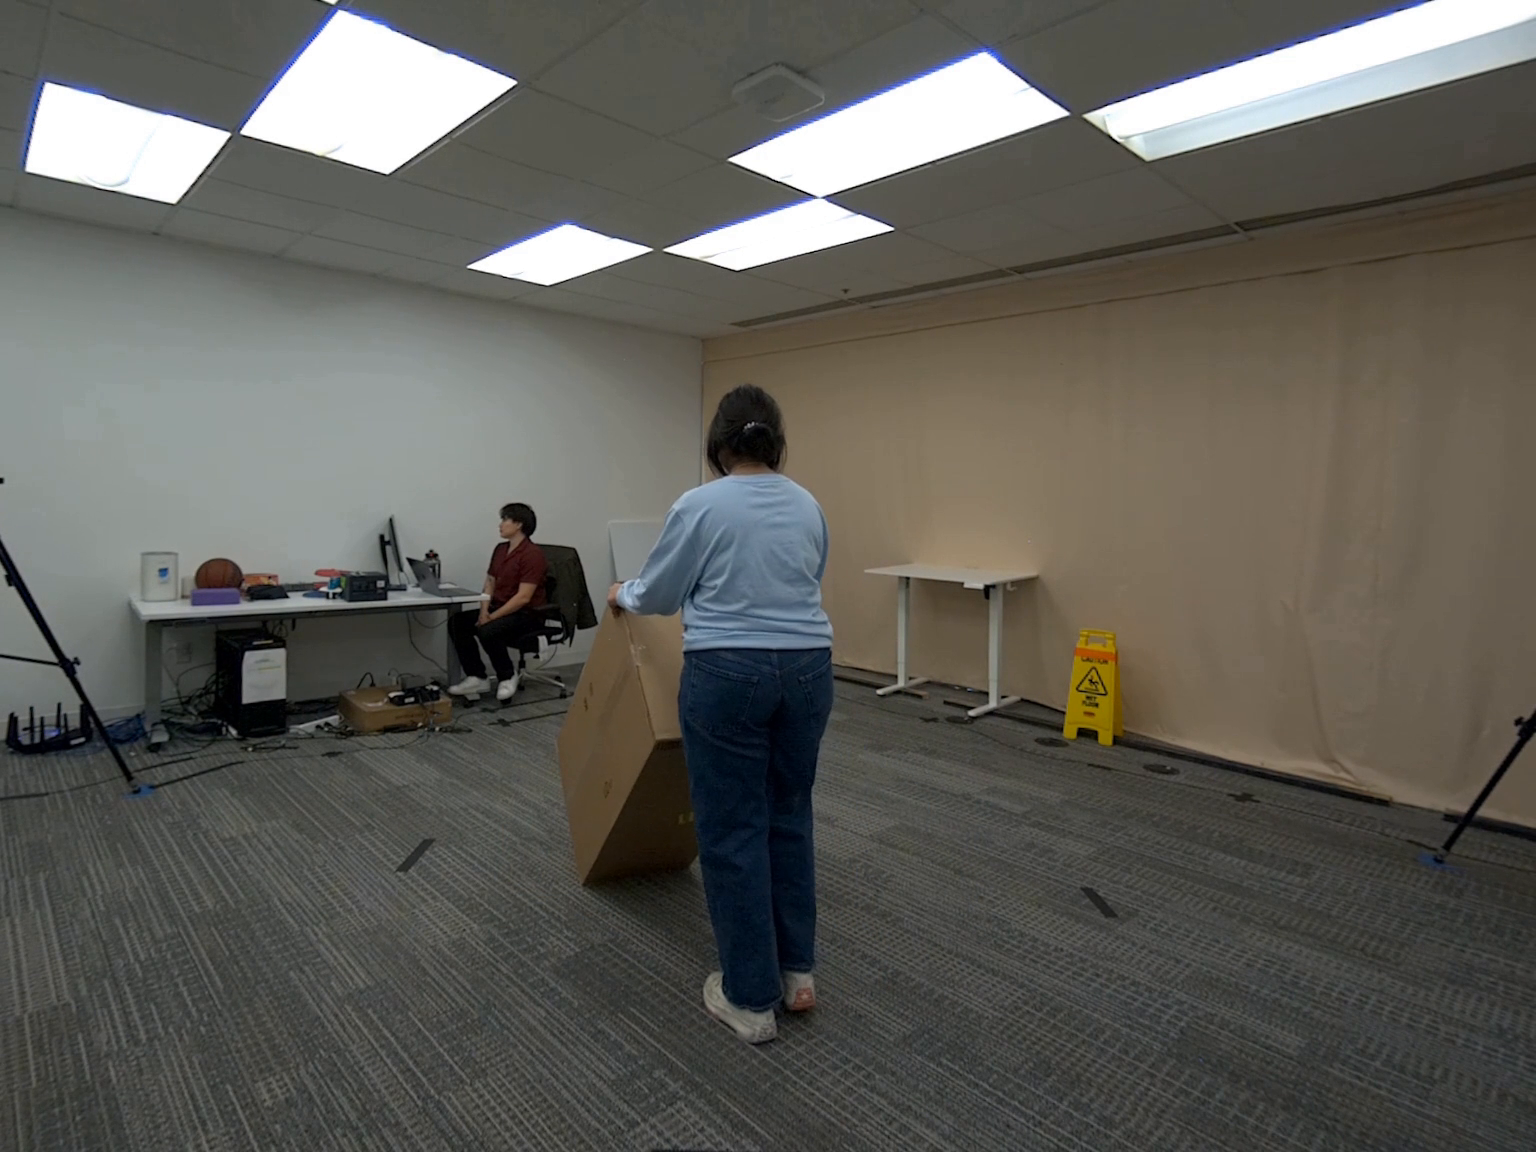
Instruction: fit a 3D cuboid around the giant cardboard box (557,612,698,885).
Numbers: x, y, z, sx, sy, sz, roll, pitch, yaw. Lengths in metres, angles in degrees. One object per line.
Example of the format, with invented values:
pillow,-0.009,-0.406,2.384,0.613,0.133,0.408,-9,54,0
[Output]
giant cardboard box,-0.392,0.557,2.915,0.438,0.600,1.017,-1,-40,-27
